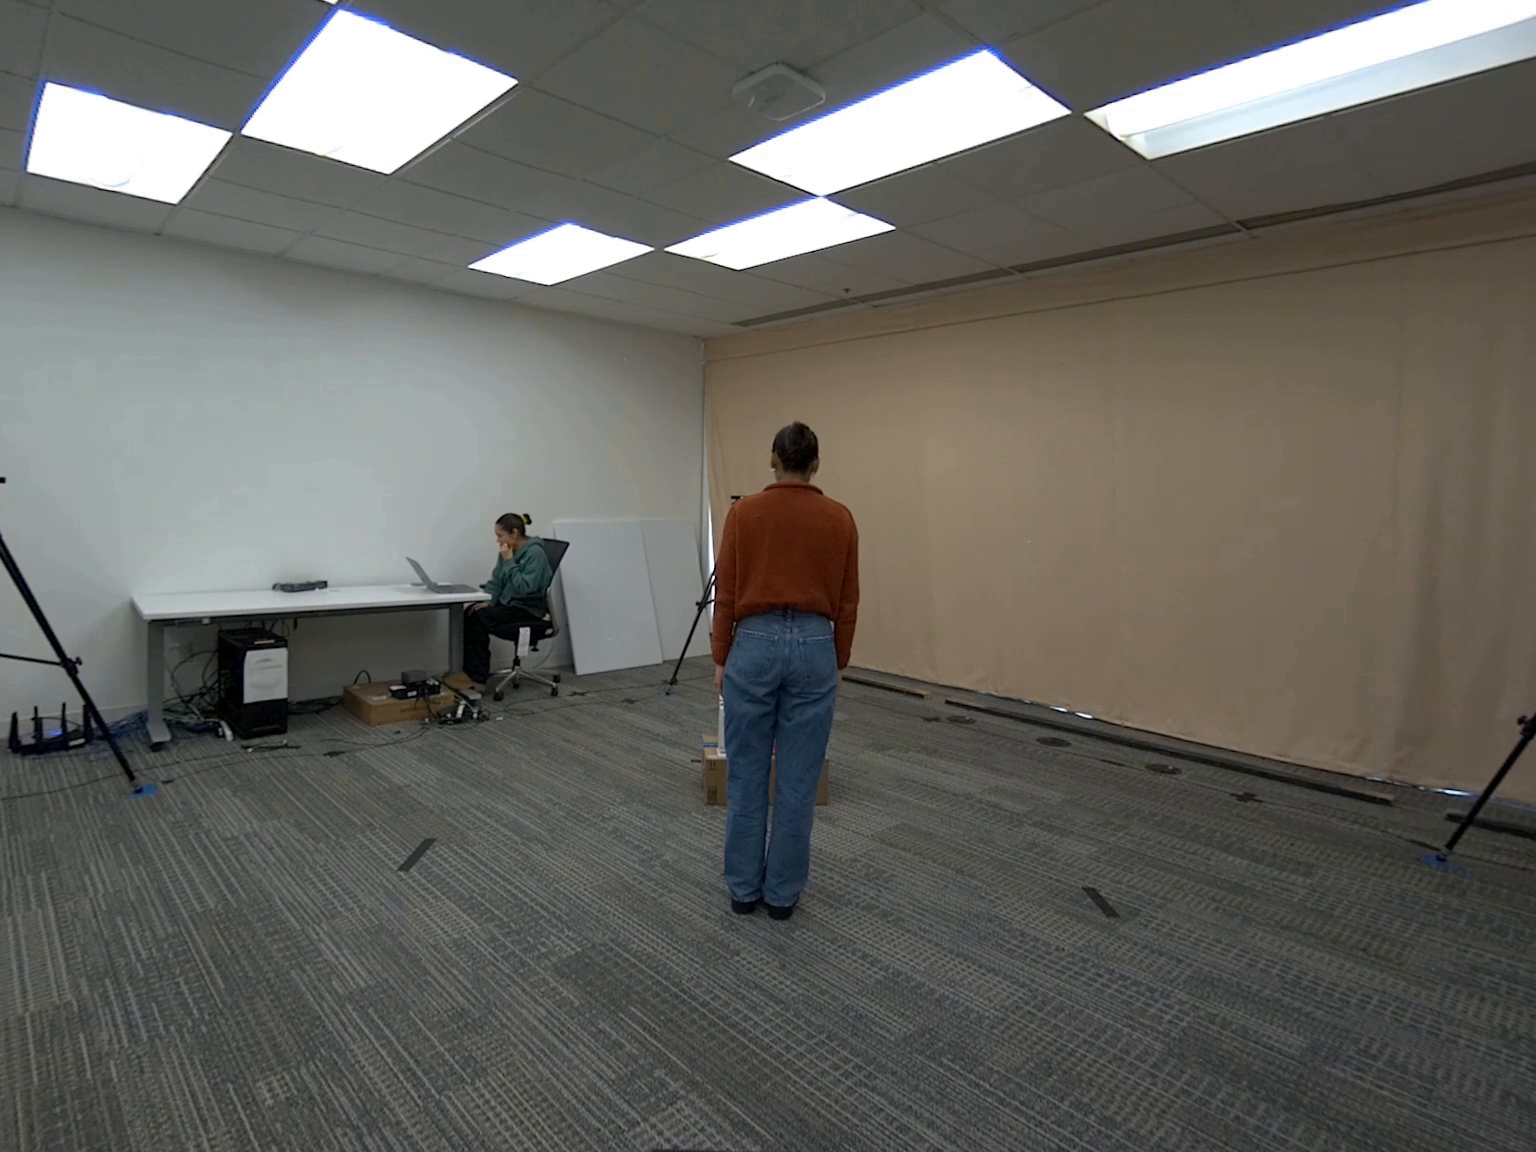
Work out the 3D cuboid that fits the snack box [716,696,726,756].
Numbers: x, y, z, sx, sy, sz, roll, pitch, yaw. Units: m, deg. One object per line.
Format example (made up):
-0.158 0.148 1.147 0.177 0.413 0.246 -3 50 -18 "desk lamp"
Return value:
-0.035 0.709 4.037 0.404 0.205 0.341 2 2 -2 "snack box"
